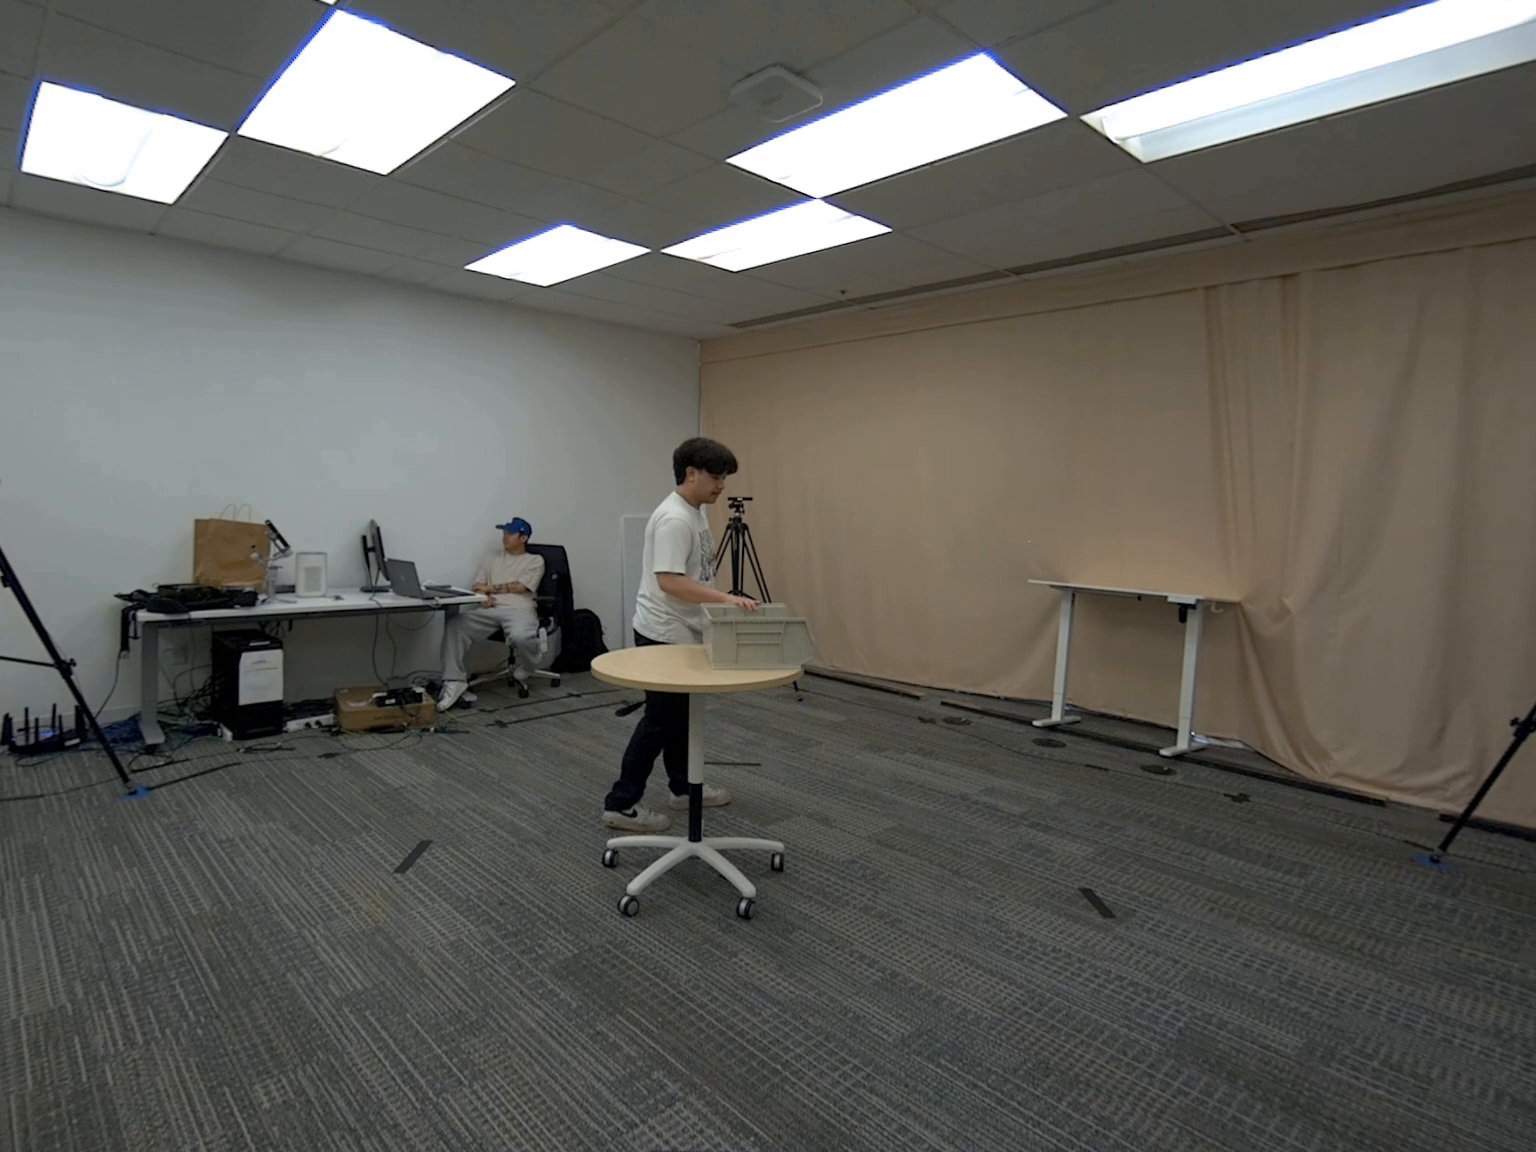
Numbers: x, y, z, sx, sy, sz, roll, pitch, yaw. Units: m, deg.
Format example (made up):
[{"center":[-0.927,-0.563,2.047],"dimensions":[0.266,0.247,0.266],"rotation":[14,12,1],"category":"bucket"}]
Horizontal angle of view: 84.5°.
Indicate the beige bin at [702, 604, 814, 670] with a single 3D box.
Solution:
[{"center":[-0.051,0.220,3.133],"dimensions":[0.375,0.188,0.426],"rotation":[-1,5,-9],"category":"beige bin"}]
